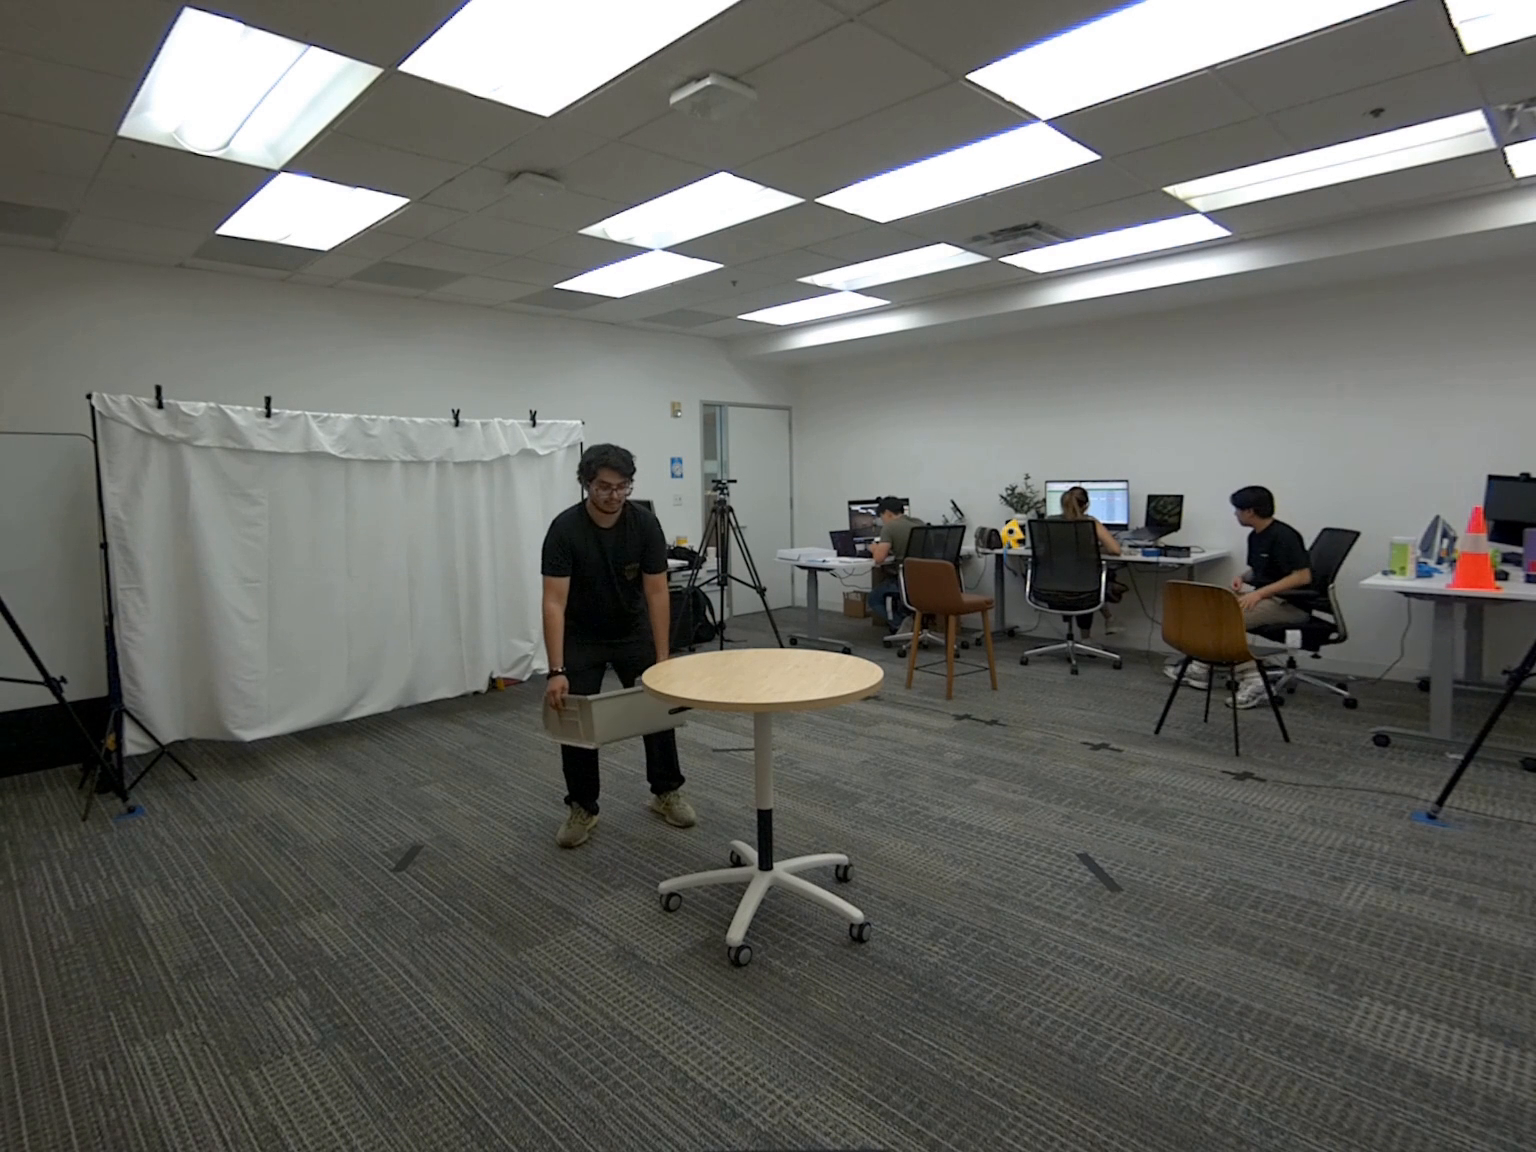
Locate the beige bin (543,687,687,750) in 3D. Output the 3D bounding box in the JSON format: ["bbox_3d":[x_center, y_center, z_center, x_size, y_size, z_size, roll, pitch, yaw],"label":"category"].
[{"bbox_3d":[-0.563,0.504,3.162,0.411,0.189,0.387,-4,0,-38],"label":"beige bin"}]
